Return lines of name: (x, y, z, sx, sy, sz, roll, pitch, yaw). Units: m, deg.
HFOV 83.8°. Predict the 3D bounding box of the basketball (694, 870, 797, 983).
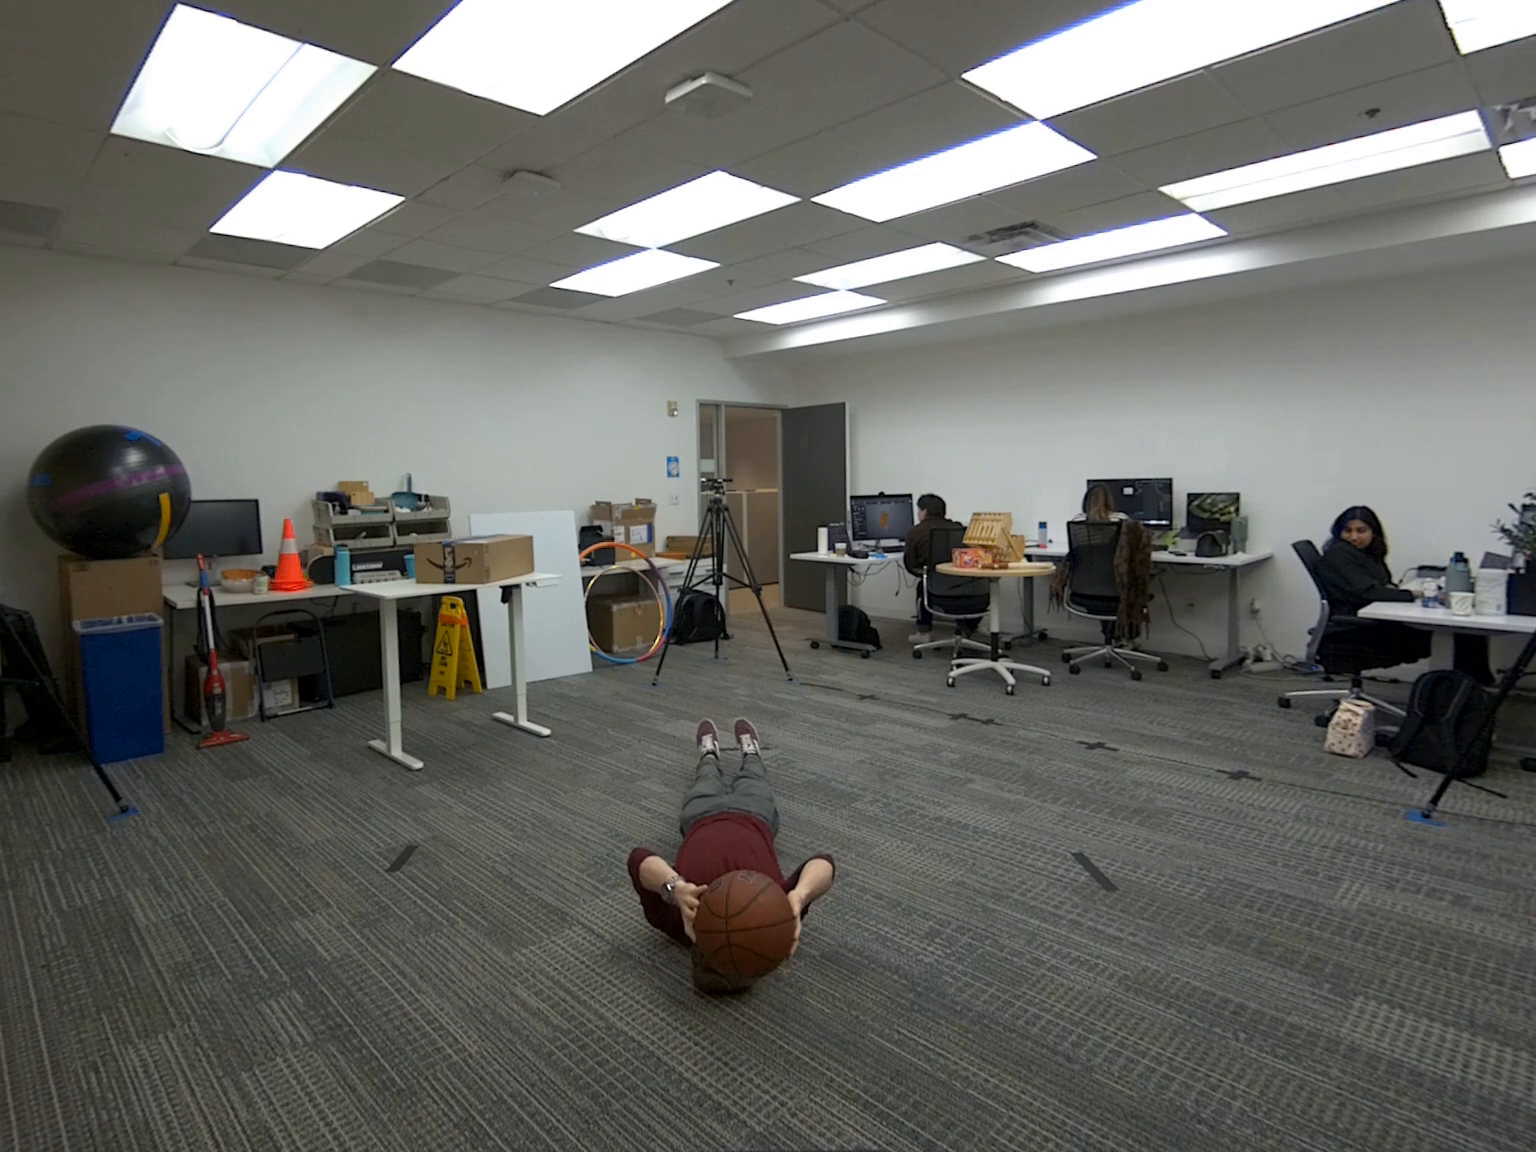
basketball: (-0.046, 0.829, 2.042, 0.236, 0.235, 0.237, -1, 5, -2)
